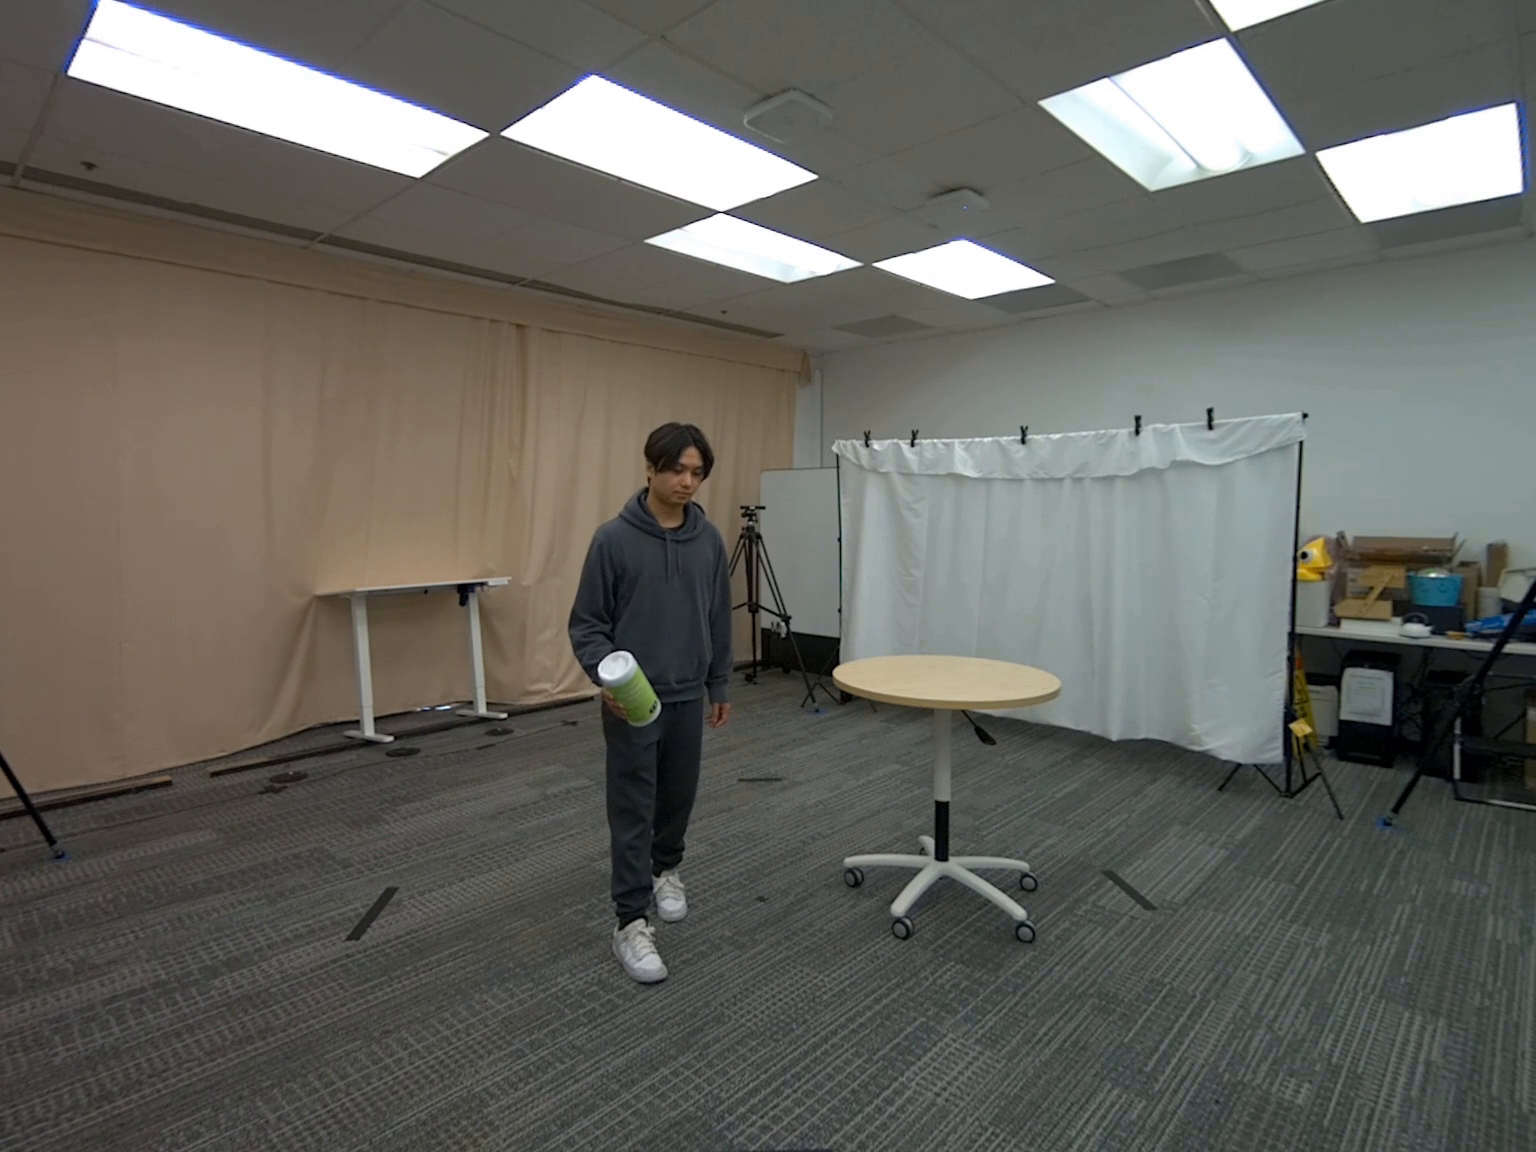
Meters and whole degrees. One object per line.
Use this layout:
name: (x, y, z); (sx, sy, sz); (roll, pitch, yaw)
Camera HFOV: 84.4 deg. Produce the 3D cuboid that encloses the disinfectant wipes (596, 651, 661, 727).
disinfectant wipes: (-0.394, 0.323, 2.396); (0.119, 0.211, 0.120); (-13, 38, 8)
